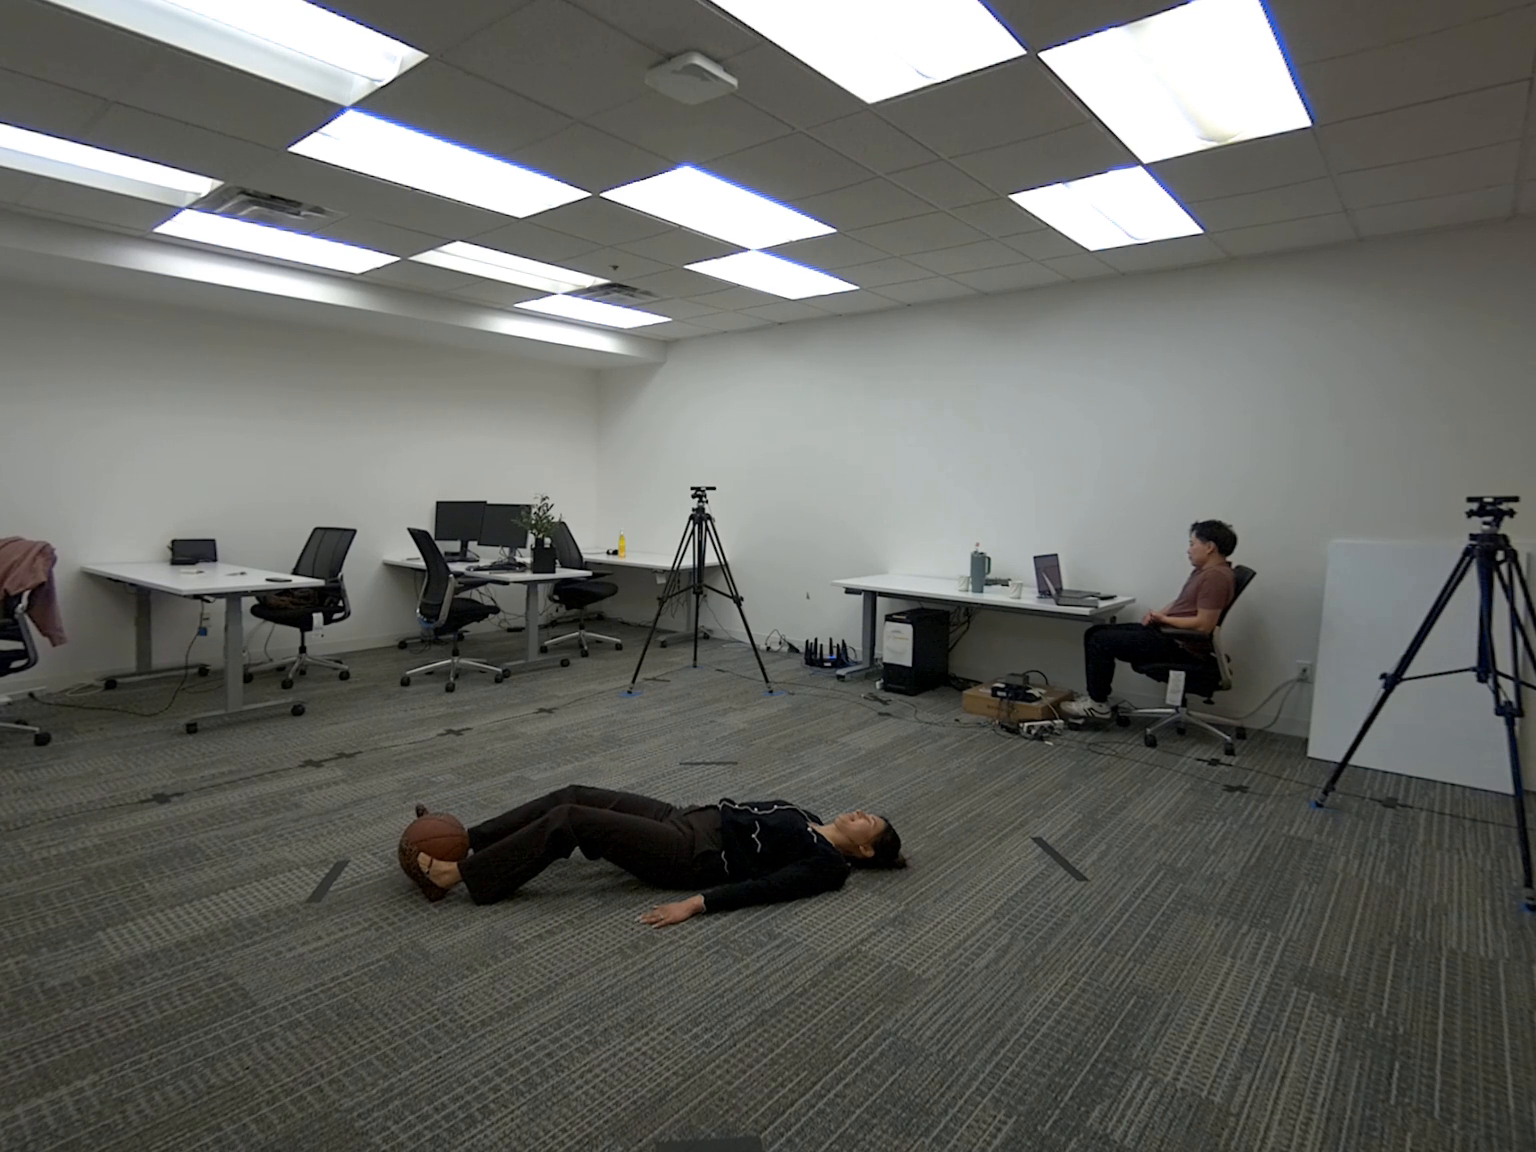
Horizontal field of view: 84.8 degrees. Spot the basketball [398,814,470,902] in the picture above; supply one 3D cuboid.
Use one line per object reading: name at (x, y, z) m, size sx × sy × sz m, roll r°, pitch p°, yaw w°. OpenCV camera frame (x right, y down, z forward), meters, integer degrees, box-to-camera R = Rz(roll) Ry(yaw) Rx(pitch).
basketball at (-1.179, 0.950, 2.966) m, size 0.236 × 0.234 × 0.238 m, roll 0°, pitch 7°, yaw -2°
